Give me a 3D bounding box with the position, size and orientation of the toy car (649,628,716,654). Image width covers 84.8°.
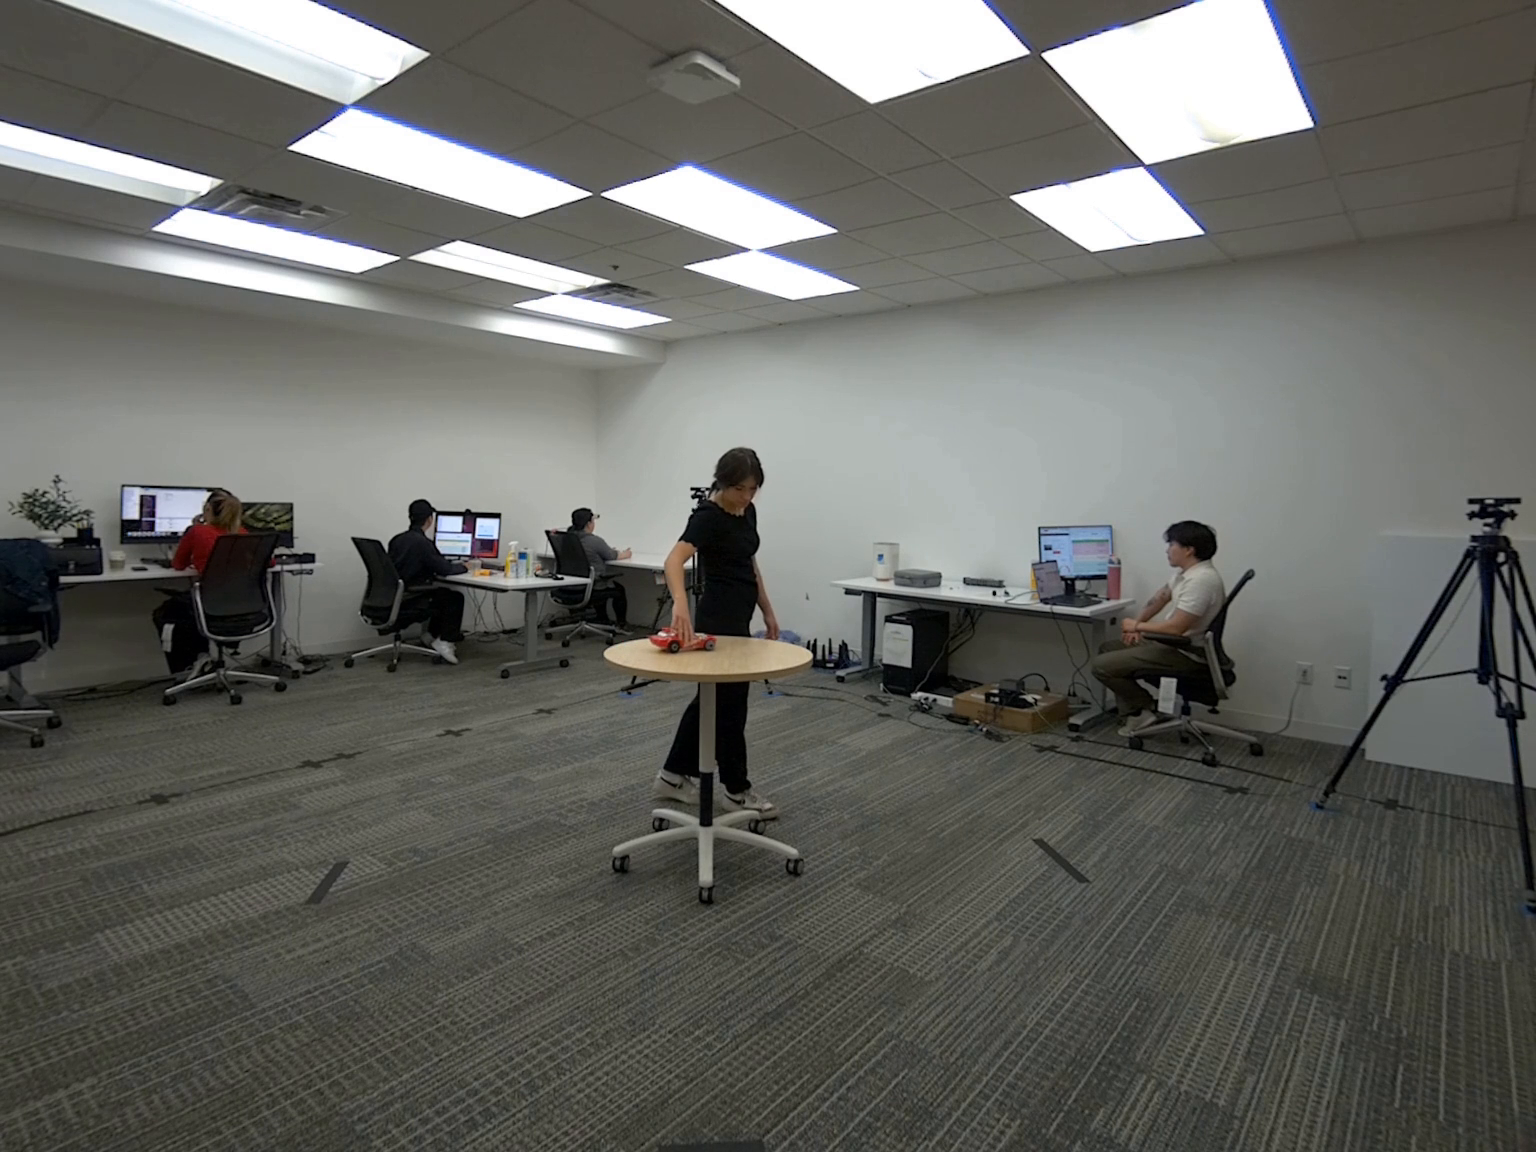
[{"bbox_3d":[-0.333,0.244,3.178,0.247,0.083,0.134,11,-2,-26],"label":"toy car"}]
